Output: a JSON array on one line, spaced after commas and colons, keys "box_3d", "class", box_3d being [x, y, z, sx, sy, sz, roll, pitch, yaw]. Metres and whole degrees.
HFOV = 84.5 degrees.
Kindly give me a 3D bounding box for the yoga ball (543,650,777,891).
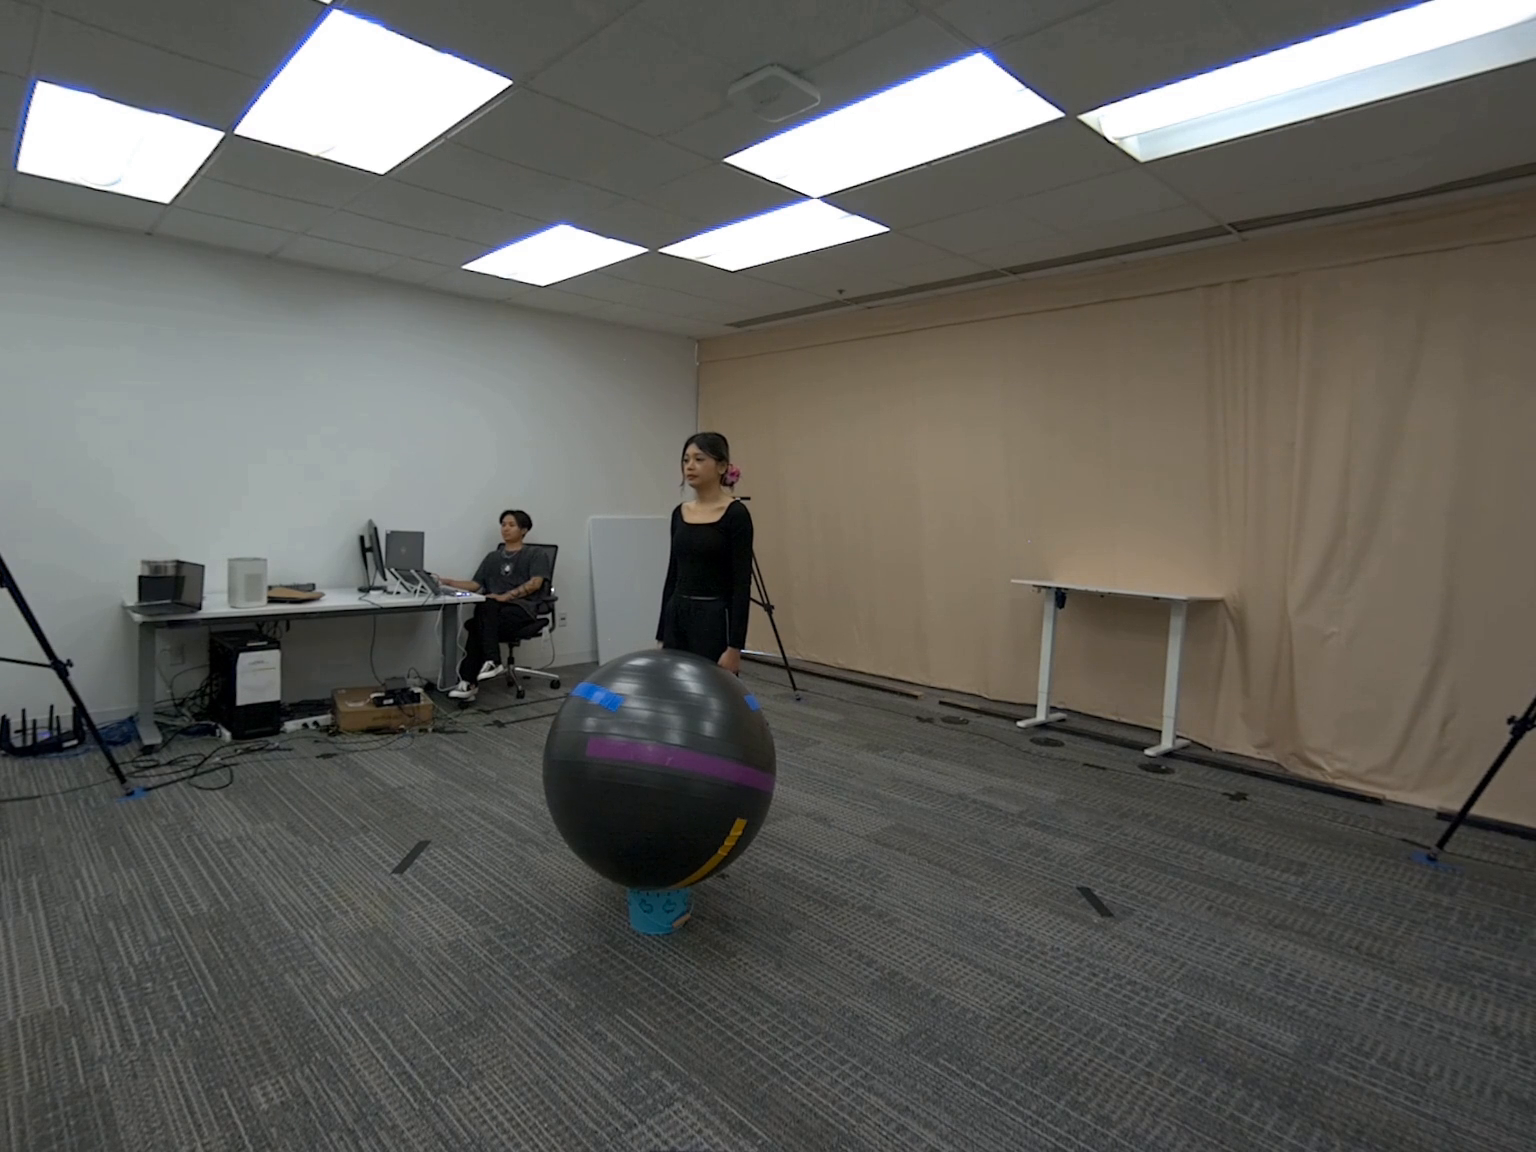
[{"box_3d": [-0.358, 0.622, 2.748, 0.757, 0.756, 0.761, 1, 4, -1], "class": "yoga ball"}]
